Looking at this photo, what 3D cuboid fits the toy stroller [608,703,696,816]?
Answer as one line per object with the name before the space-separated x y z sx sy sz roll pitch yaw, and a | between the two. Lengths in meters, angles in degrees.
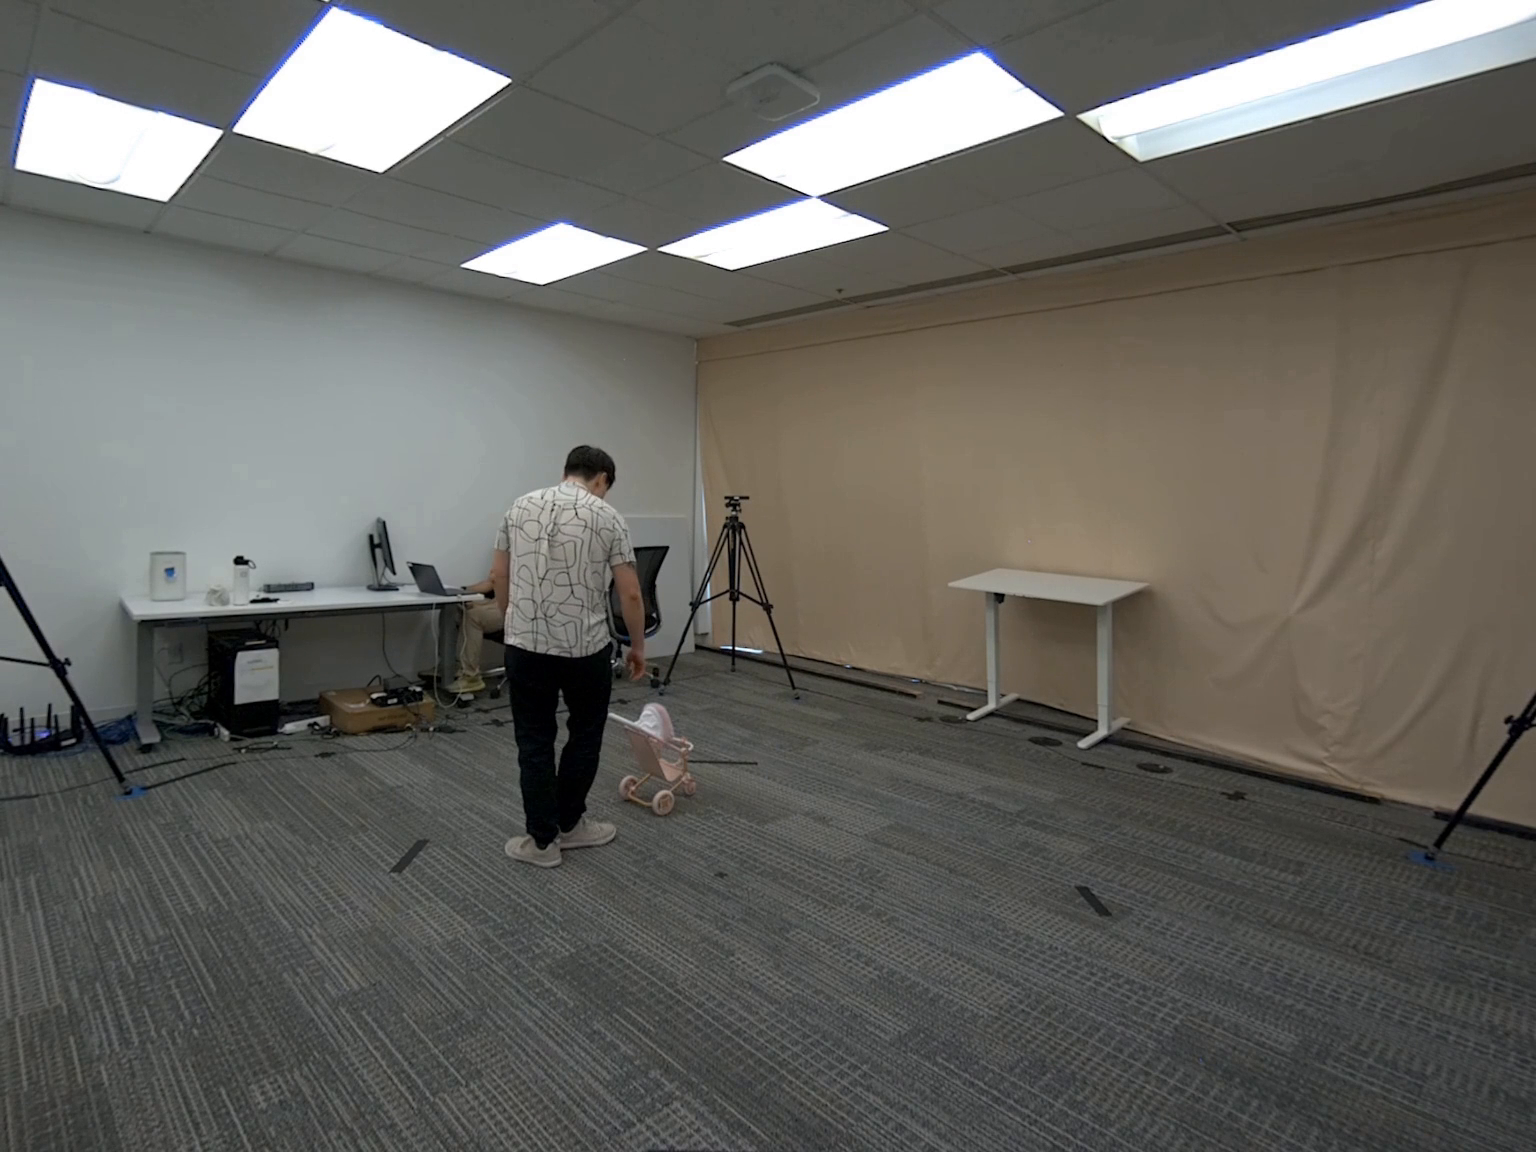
toy stroller | -0.505 0.810 3.801 0.336 0.528 0.289 -21 18 -37
